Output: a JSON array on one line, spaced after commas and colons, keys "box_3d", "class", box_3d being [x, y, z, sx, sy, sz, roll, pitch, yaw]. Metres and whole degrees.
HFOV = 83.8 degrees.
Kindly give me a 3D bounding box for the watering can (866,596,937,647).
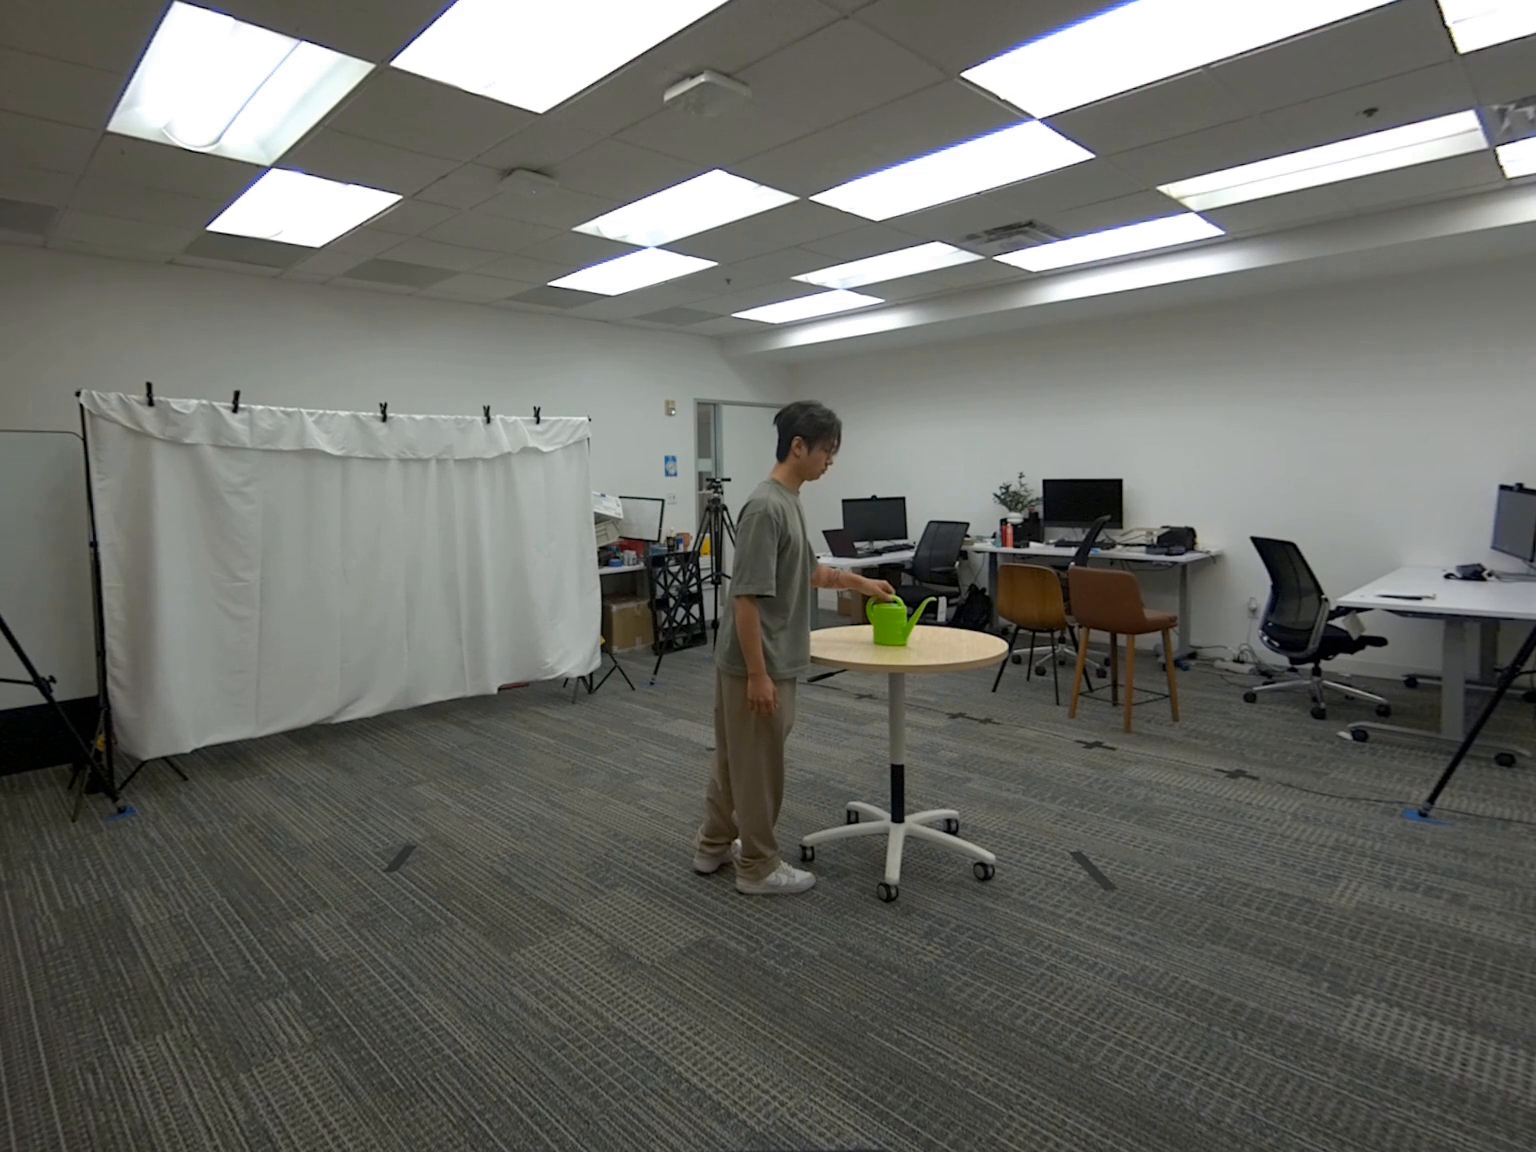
[{"box_3d": [0.459, 0.157, 3.019, 0.095, 0.176, 0.286, -5, 6, -34], "class": "watering can"}]
